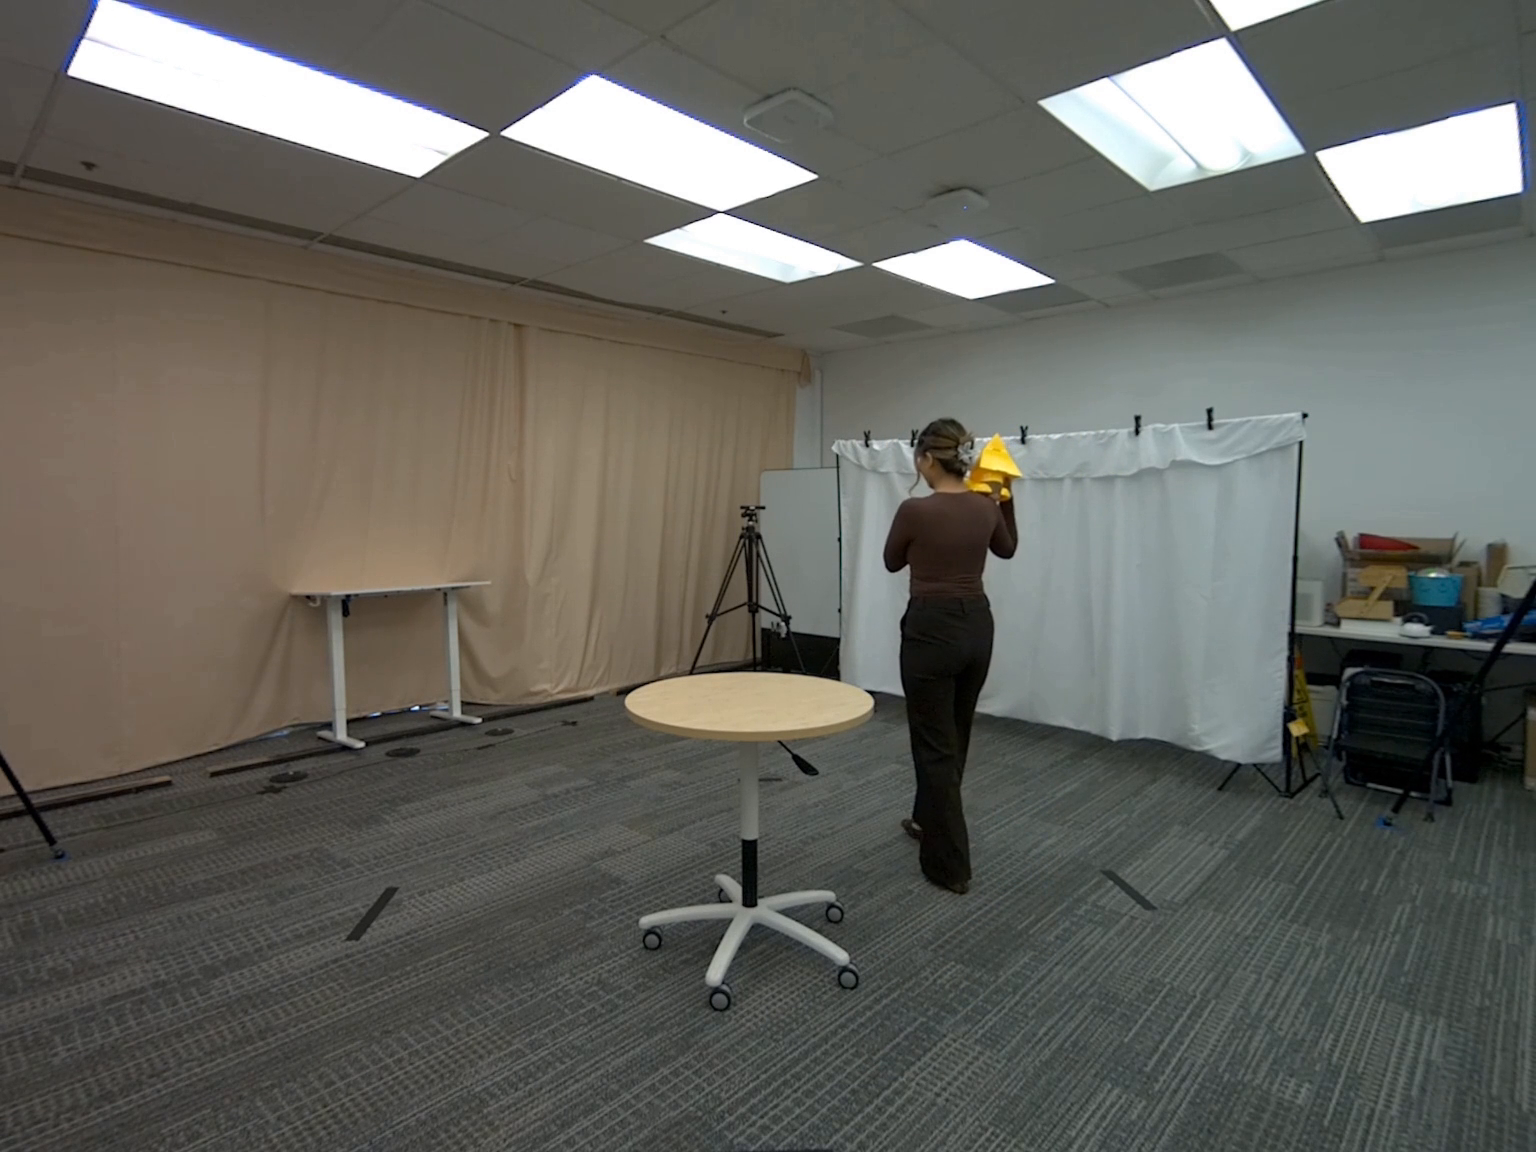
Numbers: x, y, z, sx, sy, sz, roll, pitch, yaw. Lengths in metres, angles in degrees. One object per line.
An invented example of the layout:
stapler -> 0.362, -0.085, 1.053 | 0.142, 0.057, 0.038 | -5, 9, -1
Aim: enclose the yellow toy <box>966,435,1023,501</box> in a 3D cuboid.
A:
yellow toy -> 0.822, -0.411, 3.166 | 0.199, 0.232, 0.197 | 8, -9, -27
